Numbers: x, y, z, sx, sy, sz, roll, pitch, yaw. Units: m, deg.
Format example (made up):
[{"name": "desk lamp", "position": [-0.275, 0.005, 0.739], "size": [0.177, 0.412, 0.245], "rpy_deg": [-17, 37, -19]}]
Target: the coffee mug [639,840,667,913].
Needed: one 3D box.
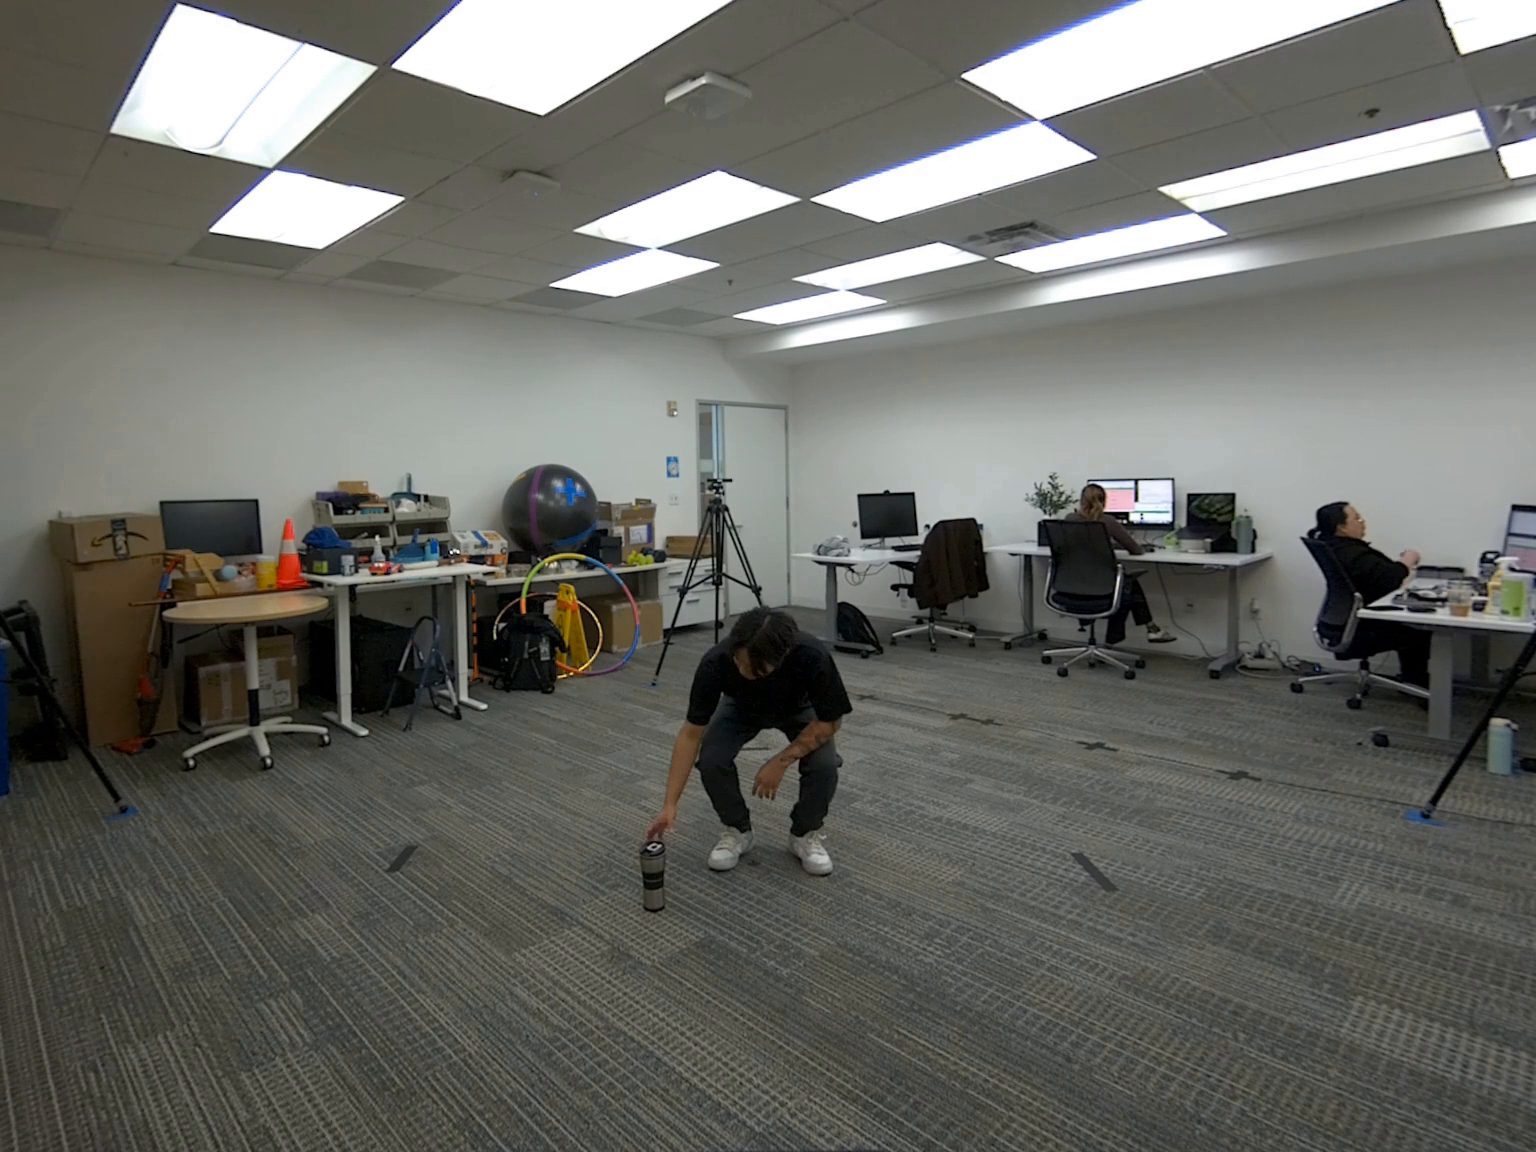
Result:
[{"name": "coffee mug", "position": [-0.356, 0.984, 2.807], "size": [0.119, 0.202, 0.090], "rpy_deg": [-12, 7, -40]}]
